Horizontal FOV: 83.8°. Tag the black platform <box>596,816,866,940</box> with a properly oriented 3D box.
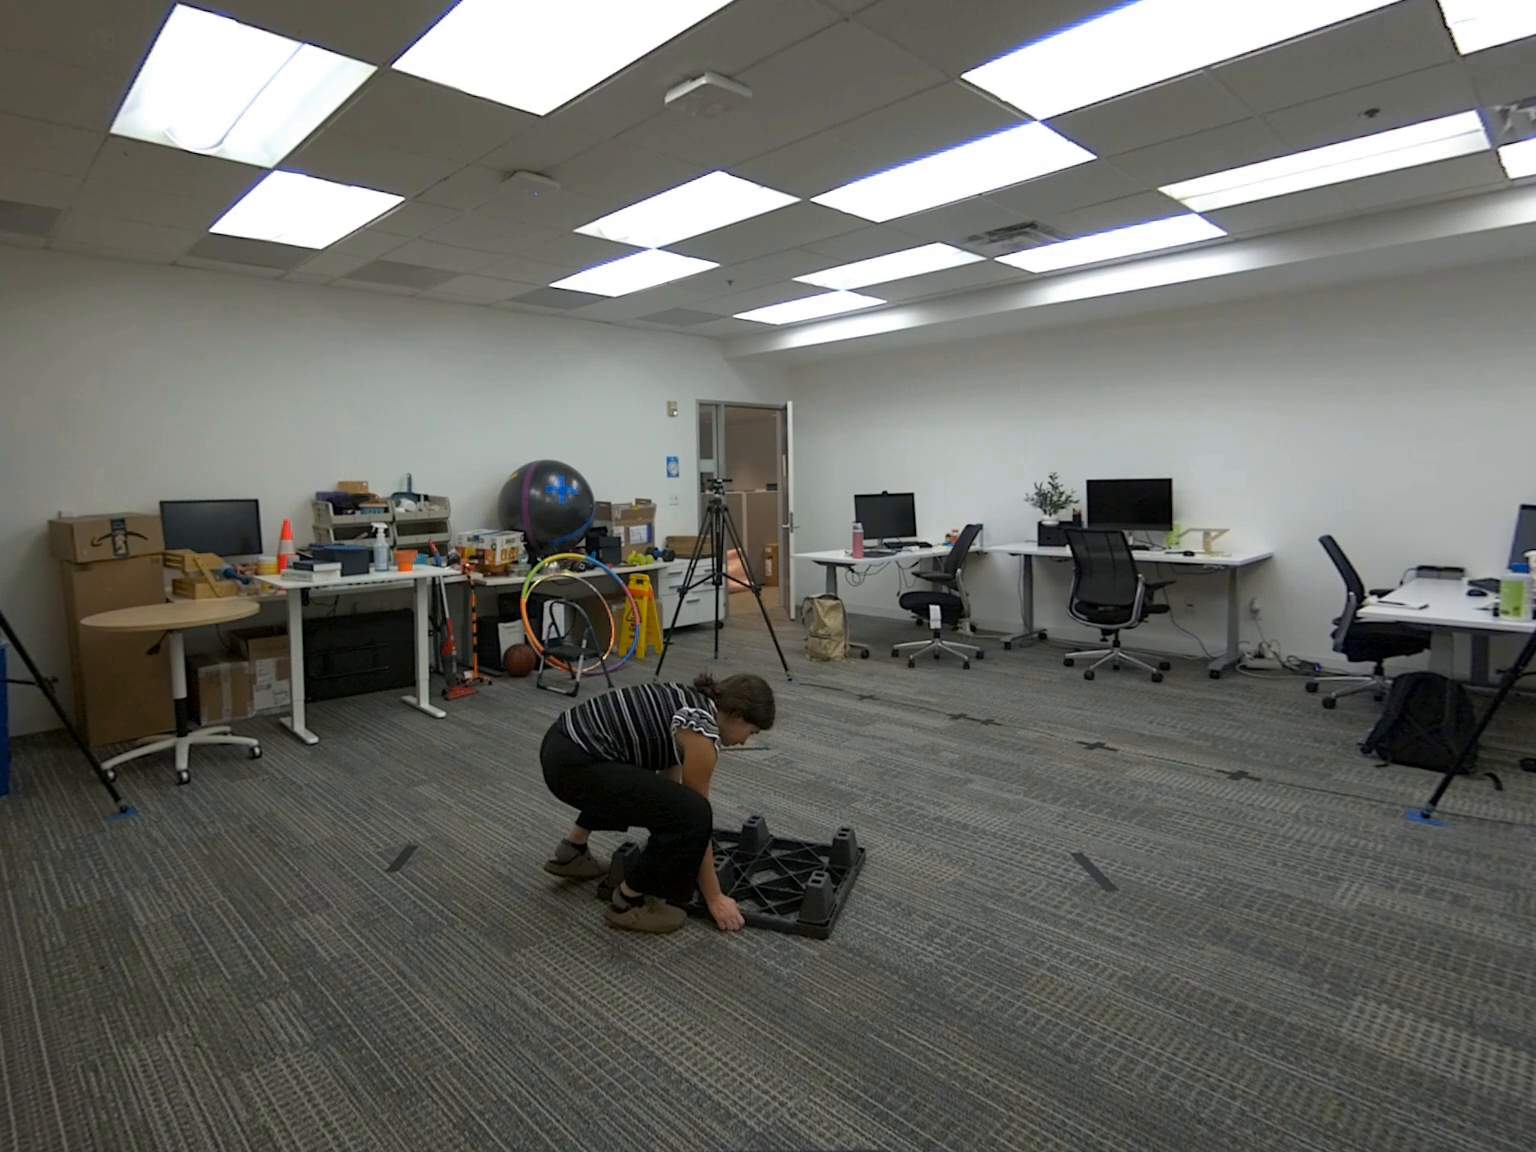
[{"bbox_3d":[-0.112,0.986,2.992,0.821,0.143,0.596,1,6,20],"label":"black platform"}]
